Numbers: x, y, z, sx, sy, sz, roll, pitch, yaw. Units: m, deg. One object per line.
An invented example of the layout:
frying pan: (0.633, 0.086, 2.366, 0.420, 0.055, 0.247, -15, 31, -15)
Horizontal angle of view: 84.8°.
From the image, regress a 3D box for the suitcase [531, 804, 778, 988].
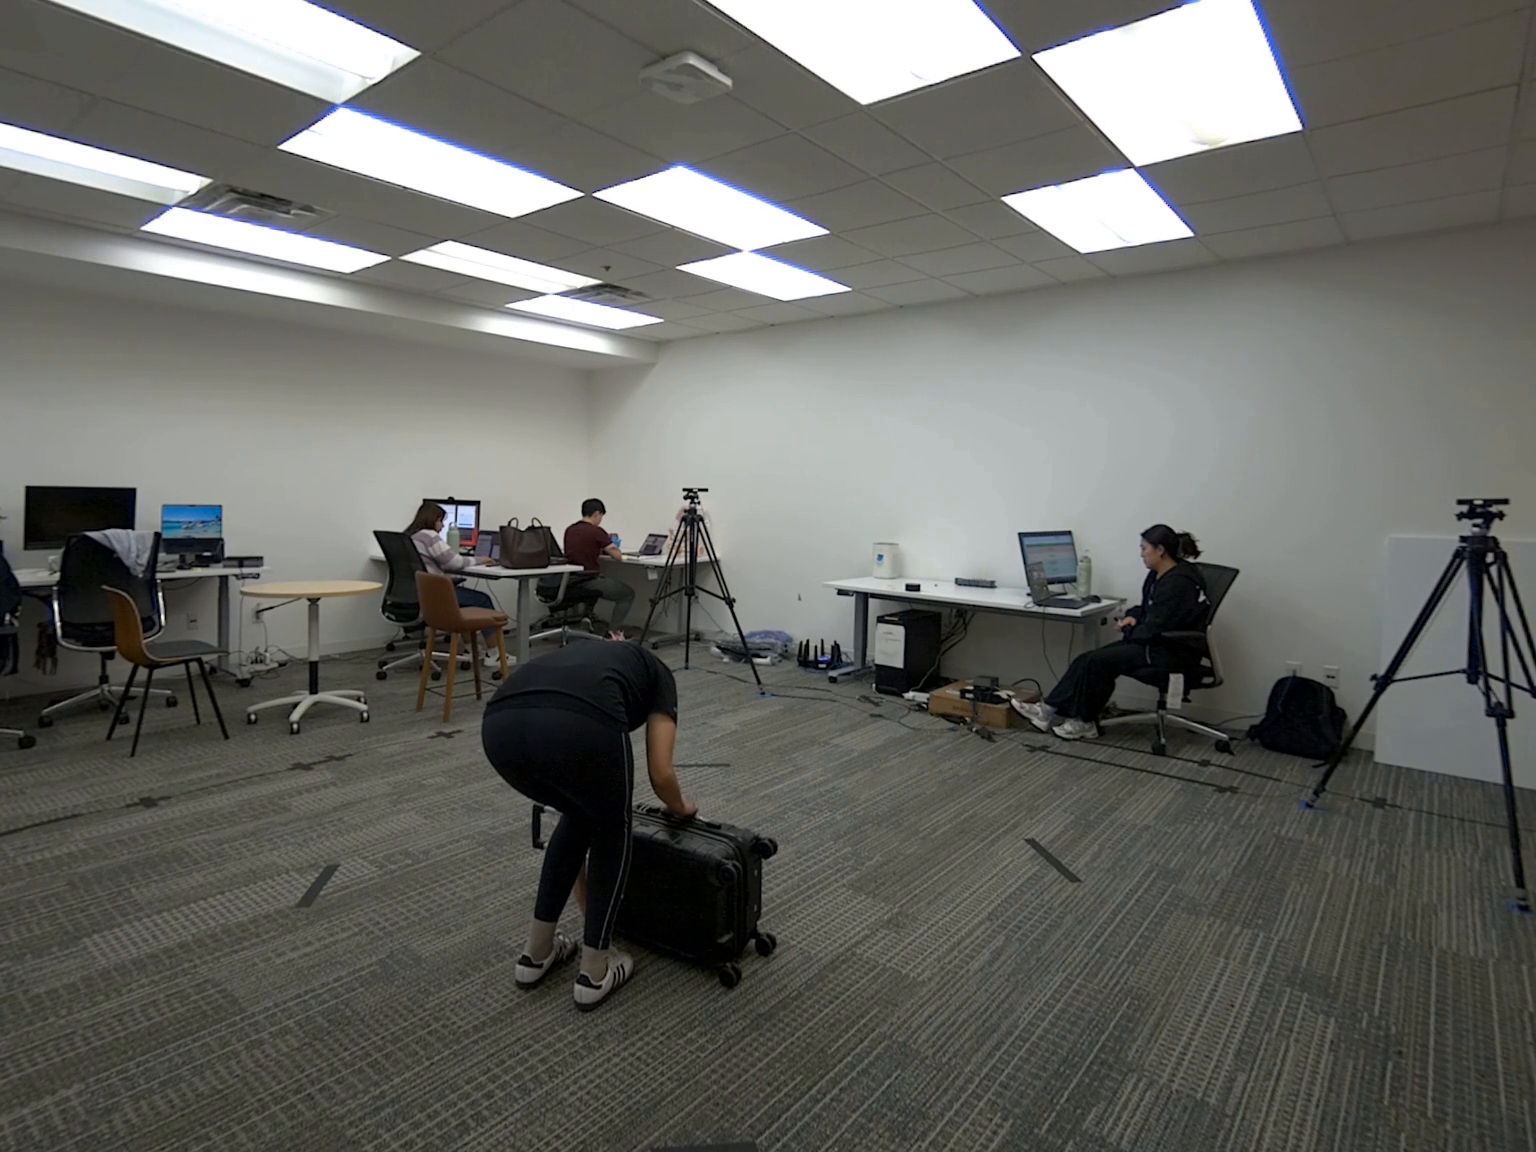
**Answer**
suitcase: (-0.457, 0.918, 2.707, 1.007, 0.383, 0.250, 4, 4, 30)
